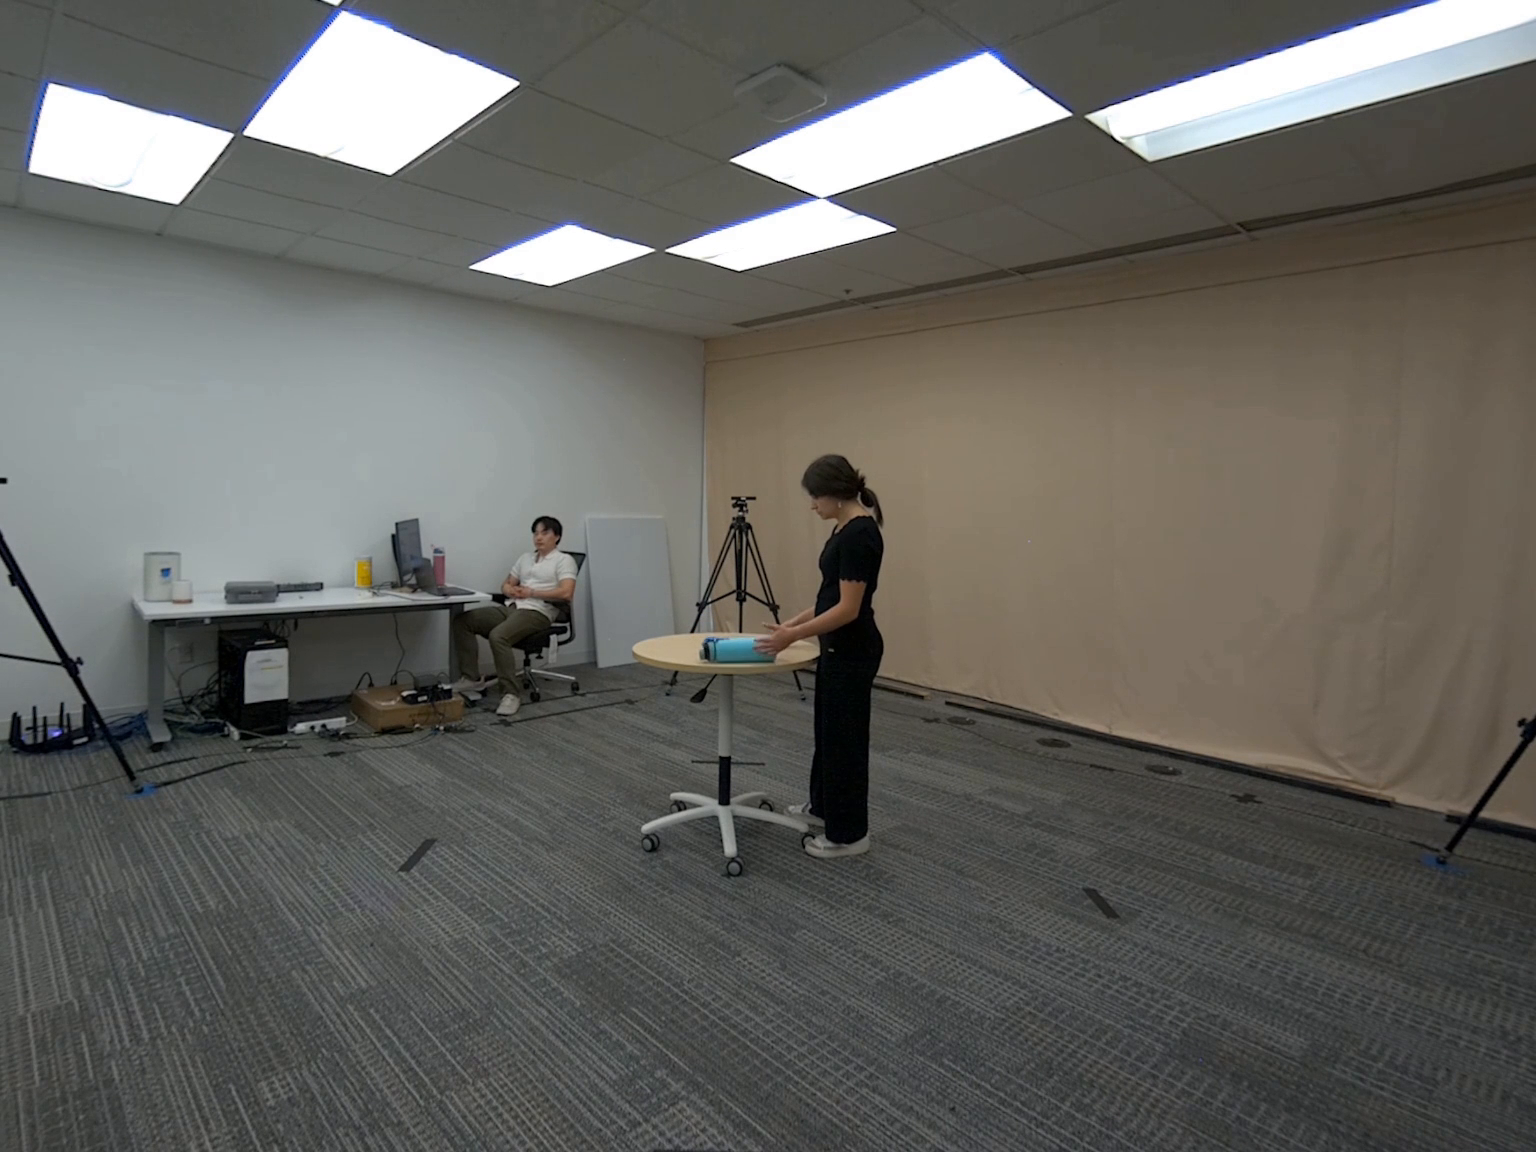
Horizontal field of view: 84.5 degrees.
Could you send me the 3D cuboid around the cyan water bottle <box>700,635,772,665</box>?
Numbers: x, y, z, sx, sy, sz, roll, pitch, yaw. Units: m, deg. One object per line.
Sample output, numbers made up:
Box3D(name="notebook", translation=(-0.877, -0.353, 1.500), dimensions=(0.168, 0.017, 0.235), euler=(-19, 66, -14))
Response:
Box3D(name="cyan water bottle", translation=(-0.122, 0.272, 3.133), dimensions=(0.281, 0.092, 0.093), euler=(1, 4, -11))
